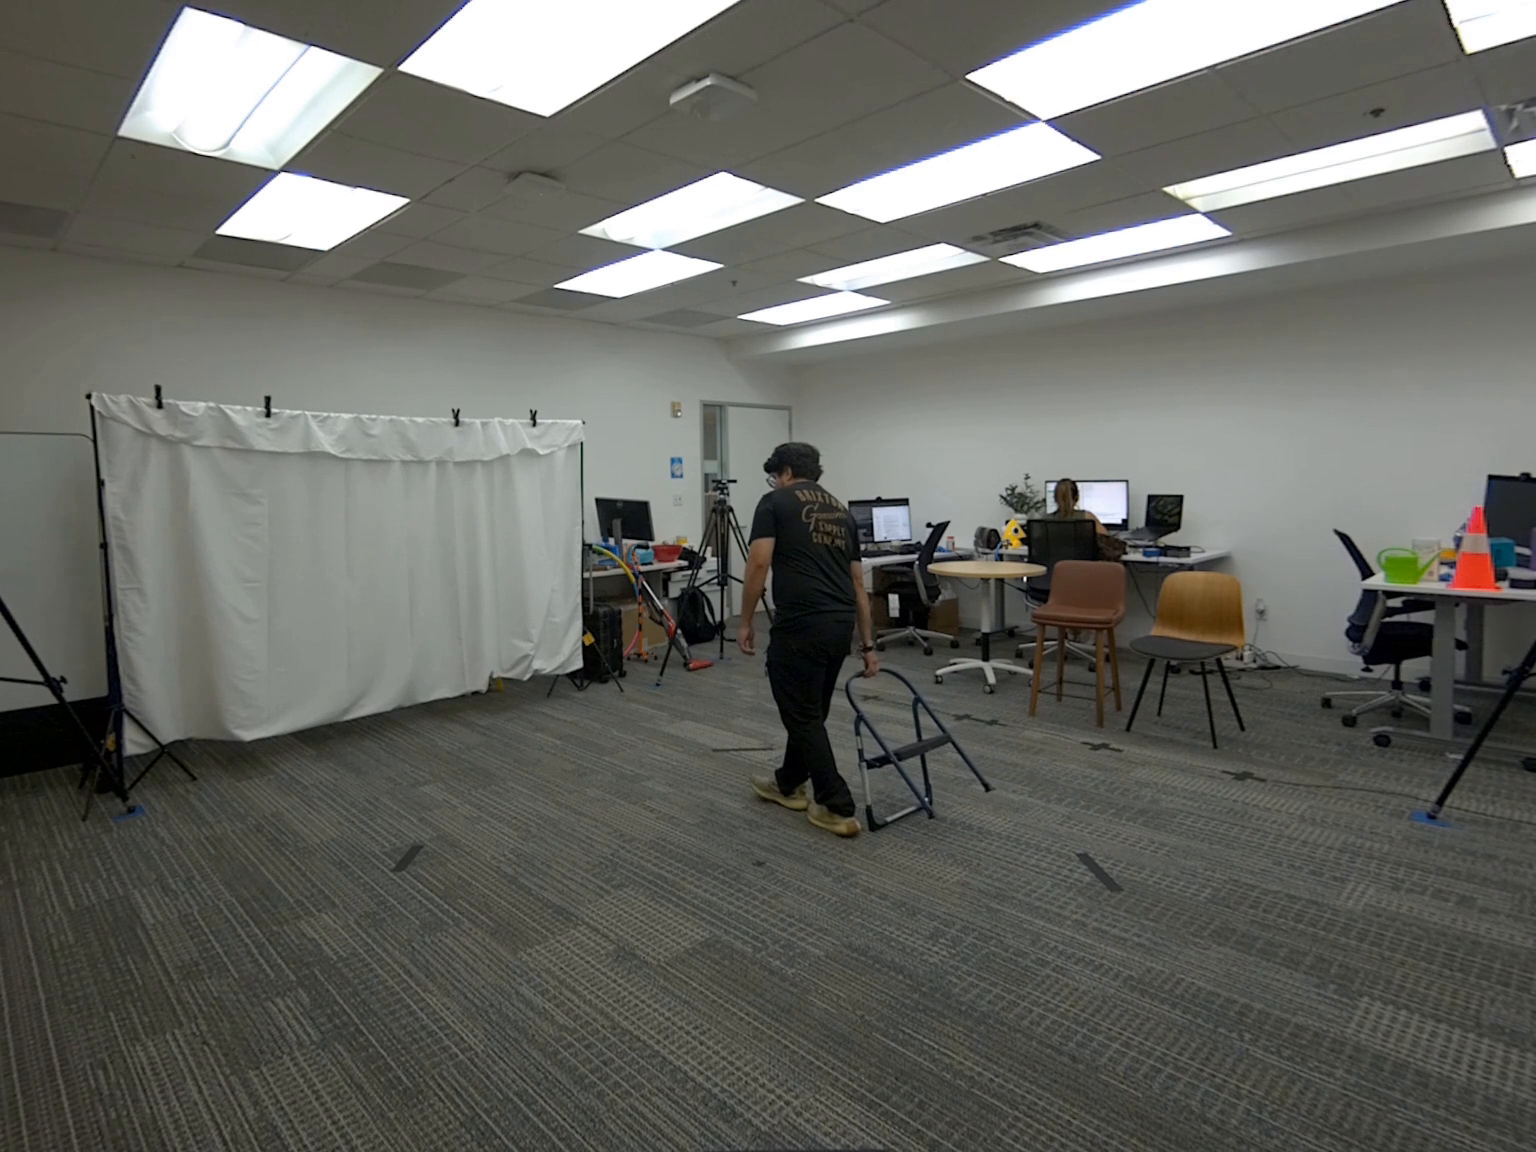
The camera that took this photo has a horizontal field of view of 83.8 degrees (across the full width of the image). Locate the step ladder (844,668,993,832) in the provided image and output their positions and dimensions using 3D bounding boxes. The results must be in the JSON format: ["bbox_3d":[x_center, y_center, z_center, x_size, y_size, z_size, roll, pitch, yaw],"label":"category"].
[{"bbox_3d":[0.558,0.648,3.480,0.419,0.617,0.352,-4,-21,-44],"label":"step ladder"}]
